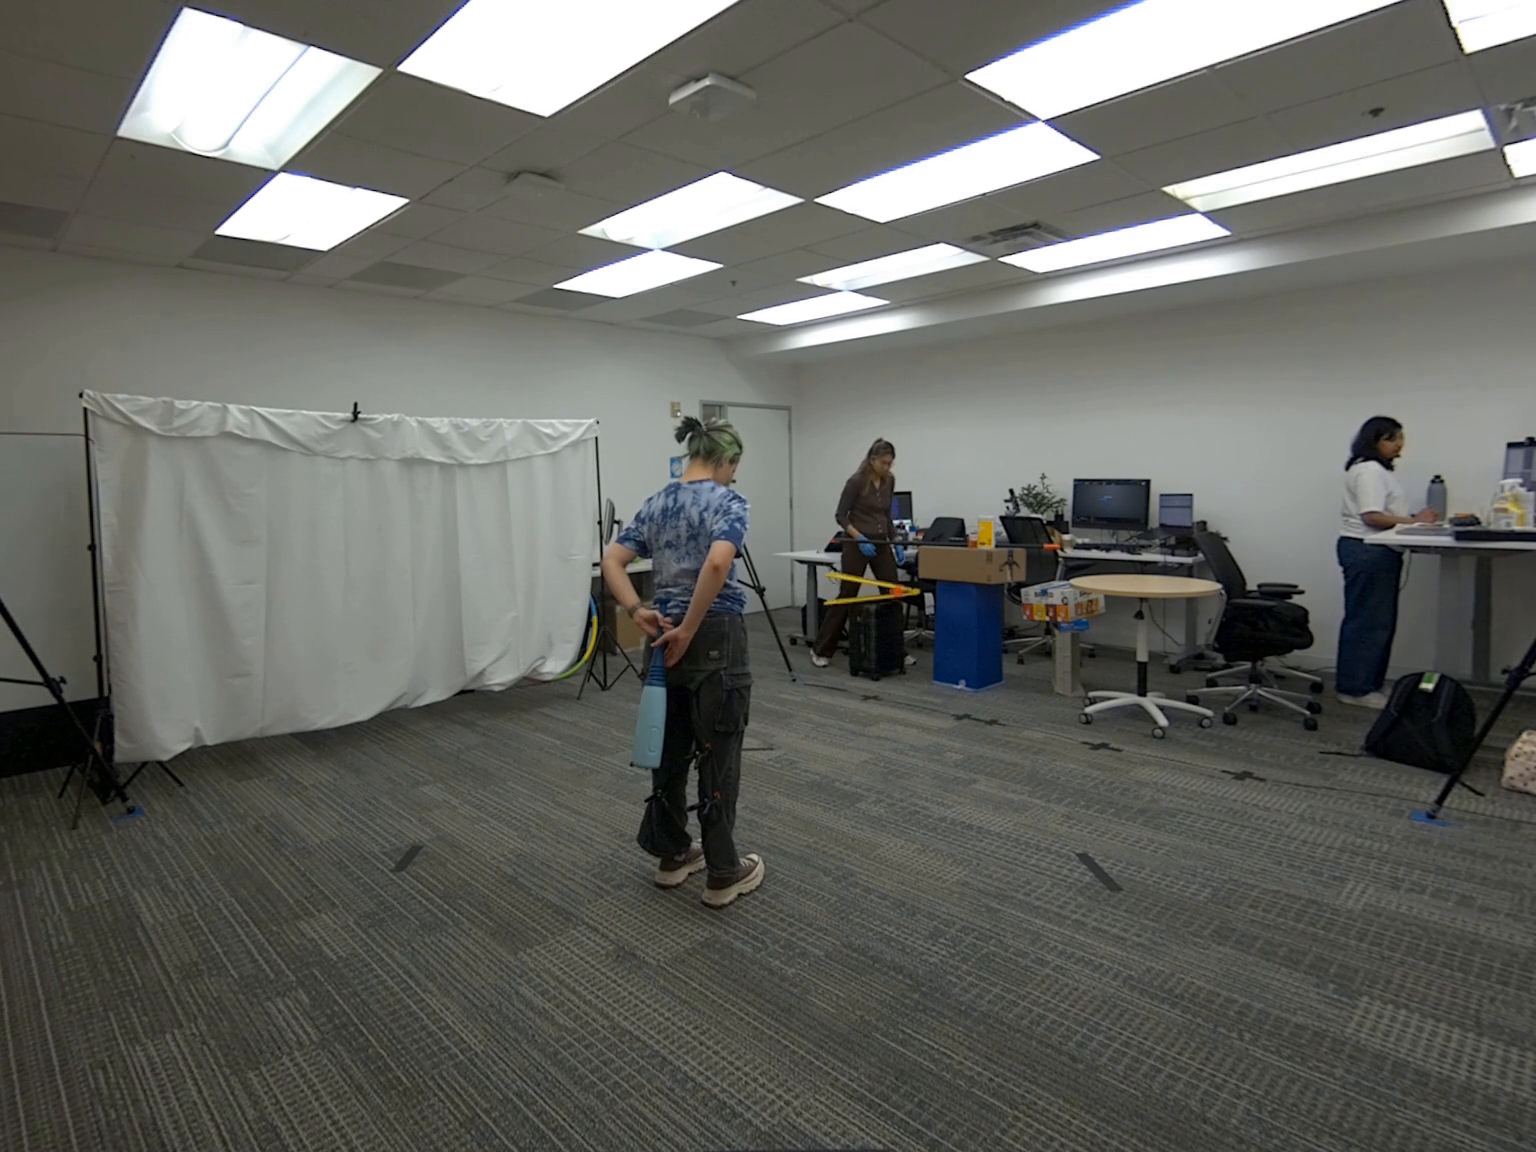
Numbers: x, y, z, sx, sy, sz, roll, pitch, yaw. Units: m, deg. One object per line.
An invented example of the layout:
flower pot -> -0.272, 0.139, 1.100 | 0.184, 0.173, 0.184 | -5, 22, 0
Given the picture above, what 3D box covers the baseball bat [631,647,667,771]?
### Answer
baseball bat -> -0.366, 0.338, 2.706 | 0.089, 0.549, 0.088 | 3, -13, -1
